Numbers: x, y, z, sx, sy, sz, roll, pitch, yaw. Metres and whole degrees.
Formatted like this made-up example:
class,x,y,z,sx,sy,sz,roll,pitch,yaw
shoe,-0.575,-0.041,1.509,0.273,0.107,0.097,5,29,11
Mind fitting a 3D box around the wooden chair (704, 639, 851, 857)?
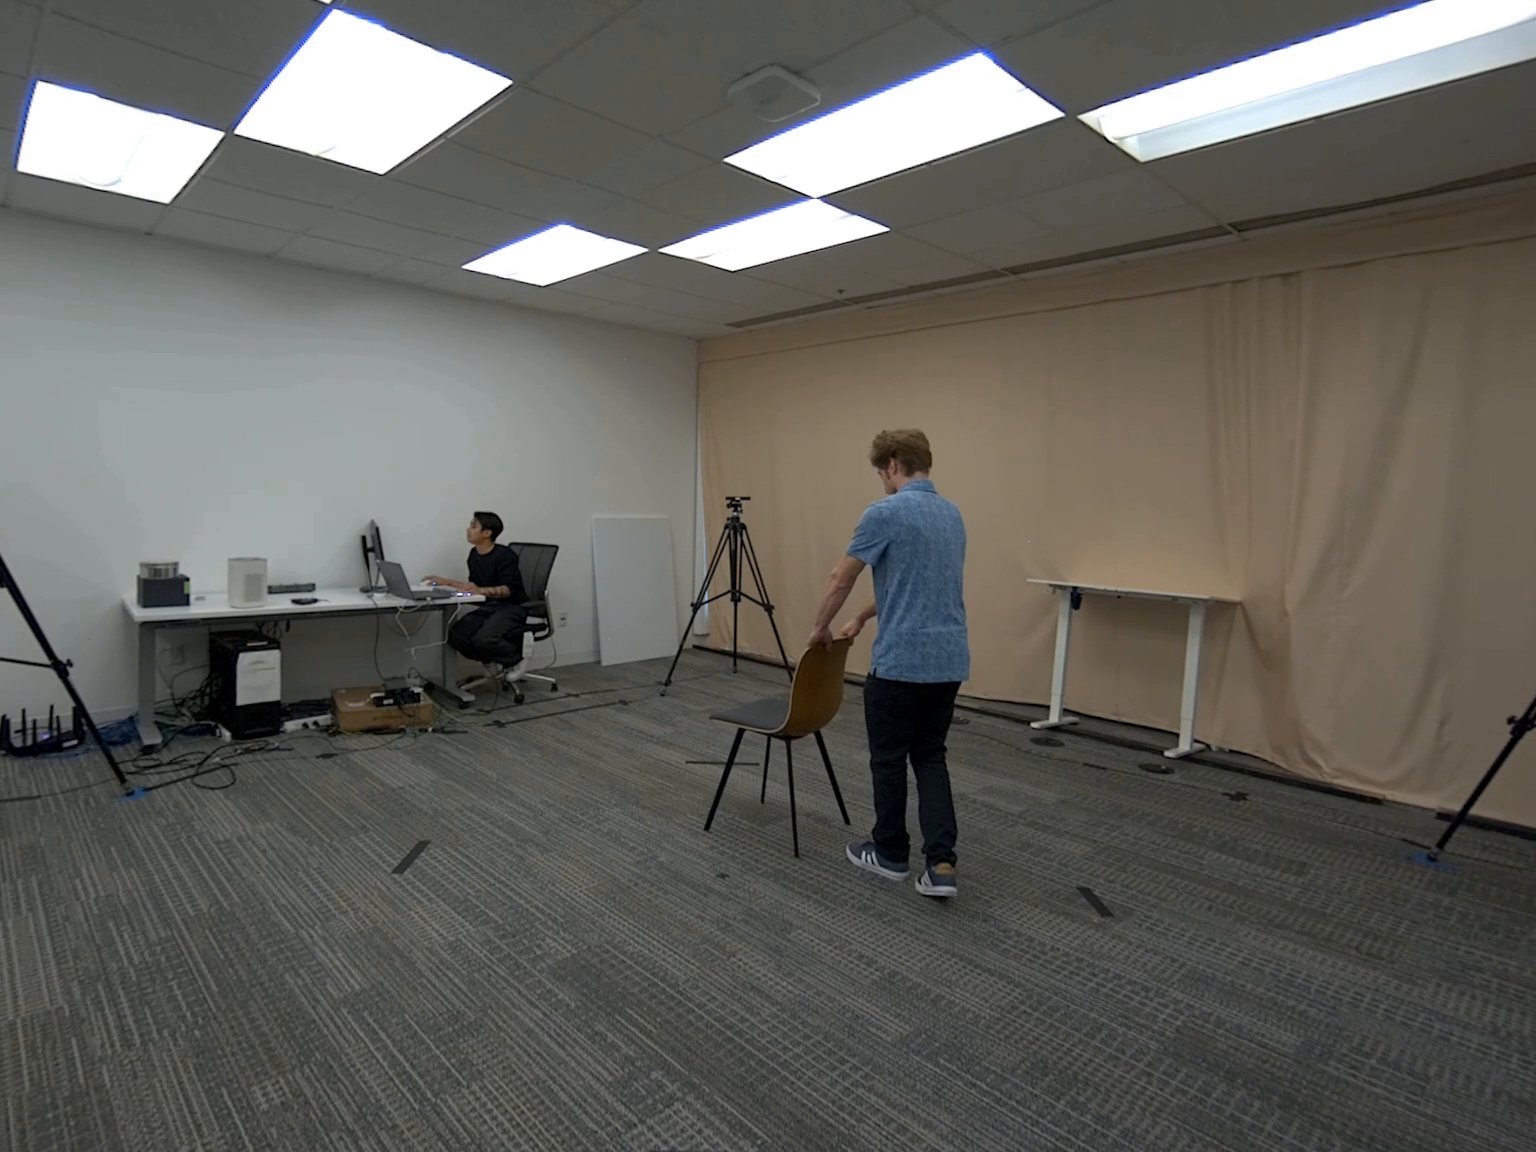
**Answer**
class,x,y,z,sx,sy,sz,roll,pitch,yaw
wooden chair,0.039,0.641,3.553,0.536,0.874,0.468,9,7,33
